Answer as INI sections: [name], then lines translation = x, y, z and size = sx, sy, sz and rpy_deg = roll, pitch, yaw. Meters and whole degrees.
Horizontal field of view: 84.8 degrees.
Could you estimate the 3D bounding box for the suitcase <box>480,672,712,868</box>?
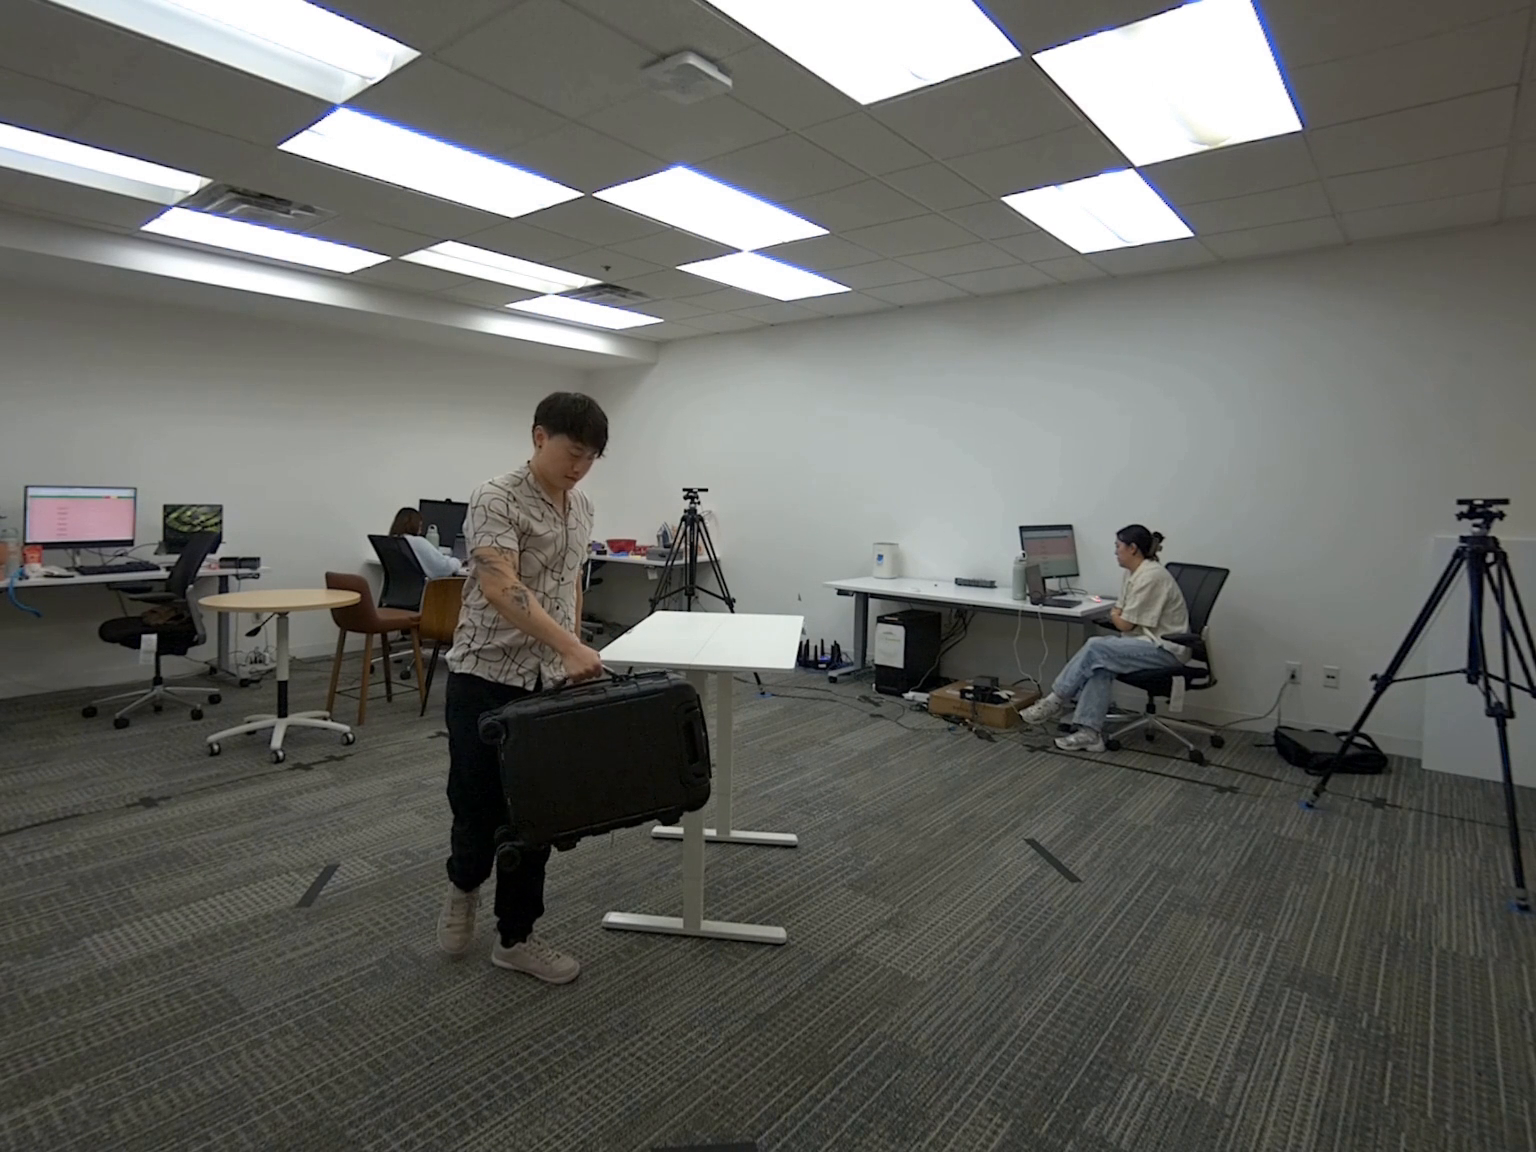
[suitcase]
translation = -0.435, 0.445, 2.154
size = 0.543, 0.377, 0.250
rpy_deg = -8, -3, -12
